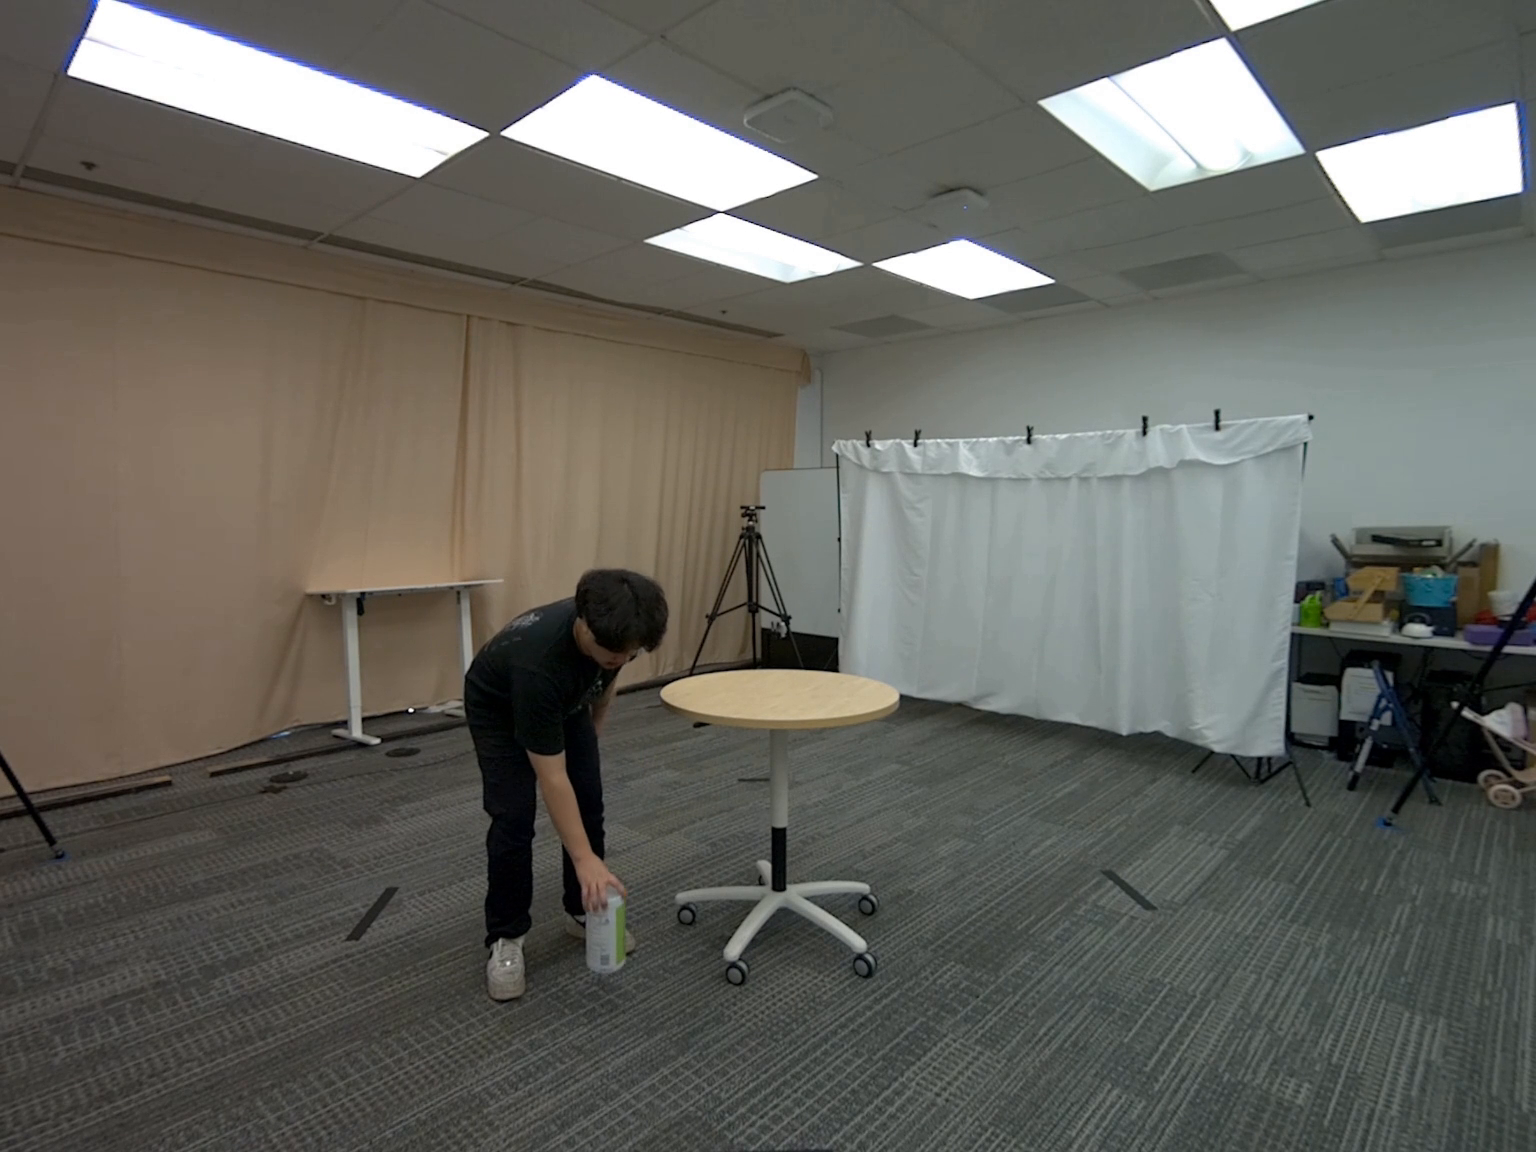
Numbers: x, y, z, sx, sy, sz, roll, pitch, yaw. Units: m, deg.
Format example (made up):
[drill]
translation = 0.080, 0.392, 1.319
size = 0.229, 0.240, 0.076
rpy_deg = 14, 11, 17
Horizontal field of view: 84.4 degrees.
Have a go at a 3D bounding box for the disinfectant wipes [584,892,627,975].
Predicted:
[disinfectant wipes]
translation = -0.440, 0.948, 2.291
size = 0.118, 0.216, 0.118
rpy_deg = -1, 8, -2
